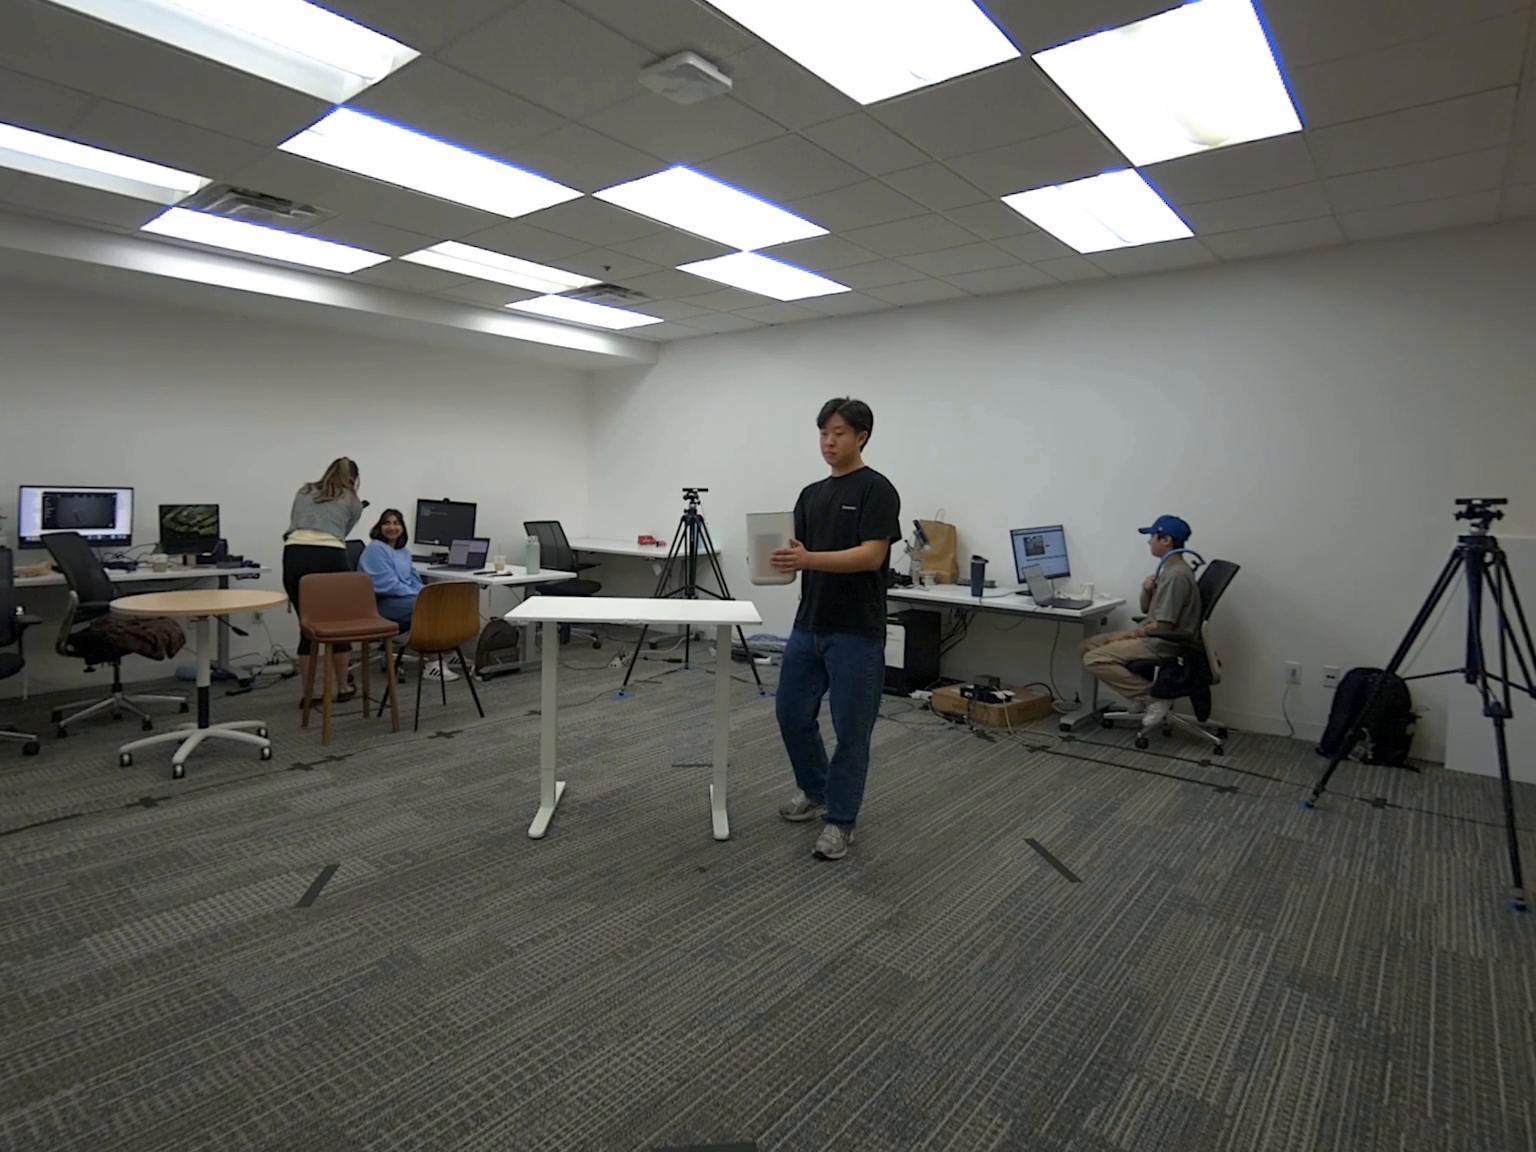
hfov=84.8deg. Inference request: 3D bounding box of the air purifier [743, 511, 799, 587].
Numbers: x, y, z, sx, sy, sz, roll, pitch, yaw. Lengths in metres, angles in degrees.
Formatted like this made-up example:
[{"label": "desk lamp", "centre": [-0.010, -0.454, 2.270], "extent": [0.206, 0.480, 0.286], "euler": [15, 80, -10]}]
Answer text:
[{"label": "air purifier", "centre": [0.012, -0.105, 3.140], "extent": [0.173, 0.265, 0.170], "euler": [-2, 3, 10]}]
